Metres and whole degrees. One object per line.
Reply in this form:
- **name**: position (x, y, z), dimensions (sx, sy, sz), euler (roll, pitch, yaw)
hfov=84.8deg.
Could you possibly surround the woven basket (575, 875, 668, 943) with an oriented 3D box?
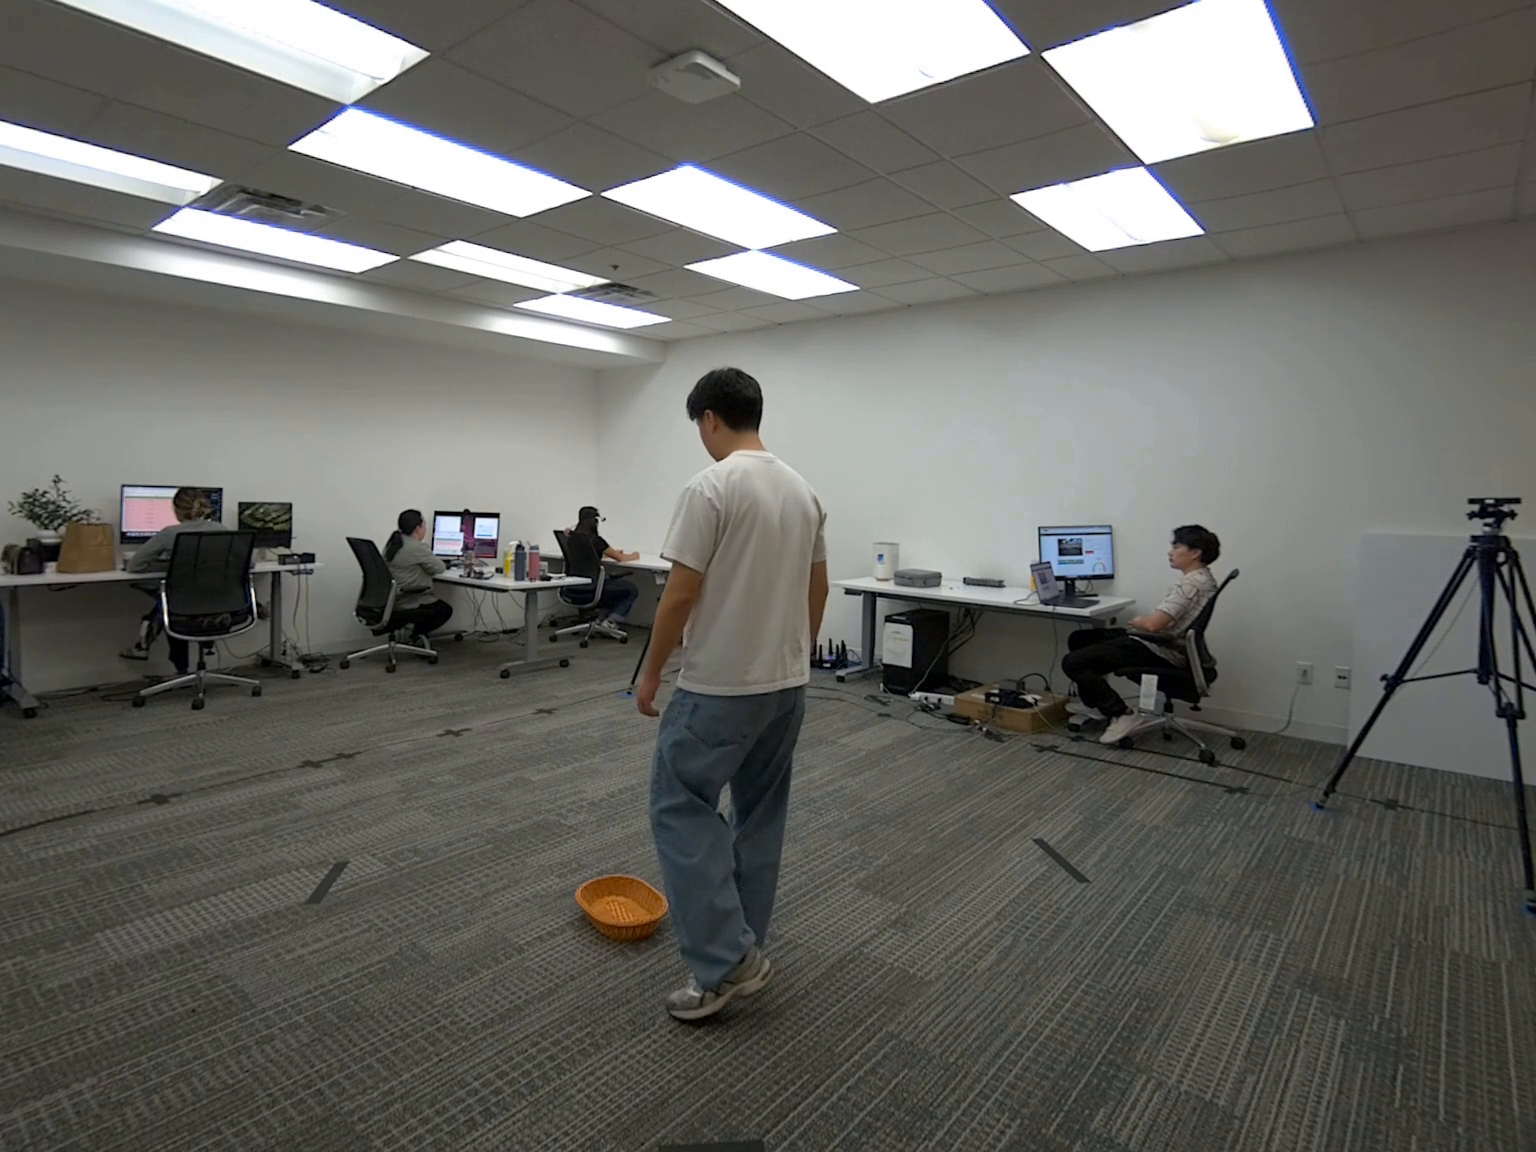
- **woven basket**: position (-0.476, 1.062, 2.728), dimensions (0.245, 0.073, 0.362), euler (-3, 7, -34)
